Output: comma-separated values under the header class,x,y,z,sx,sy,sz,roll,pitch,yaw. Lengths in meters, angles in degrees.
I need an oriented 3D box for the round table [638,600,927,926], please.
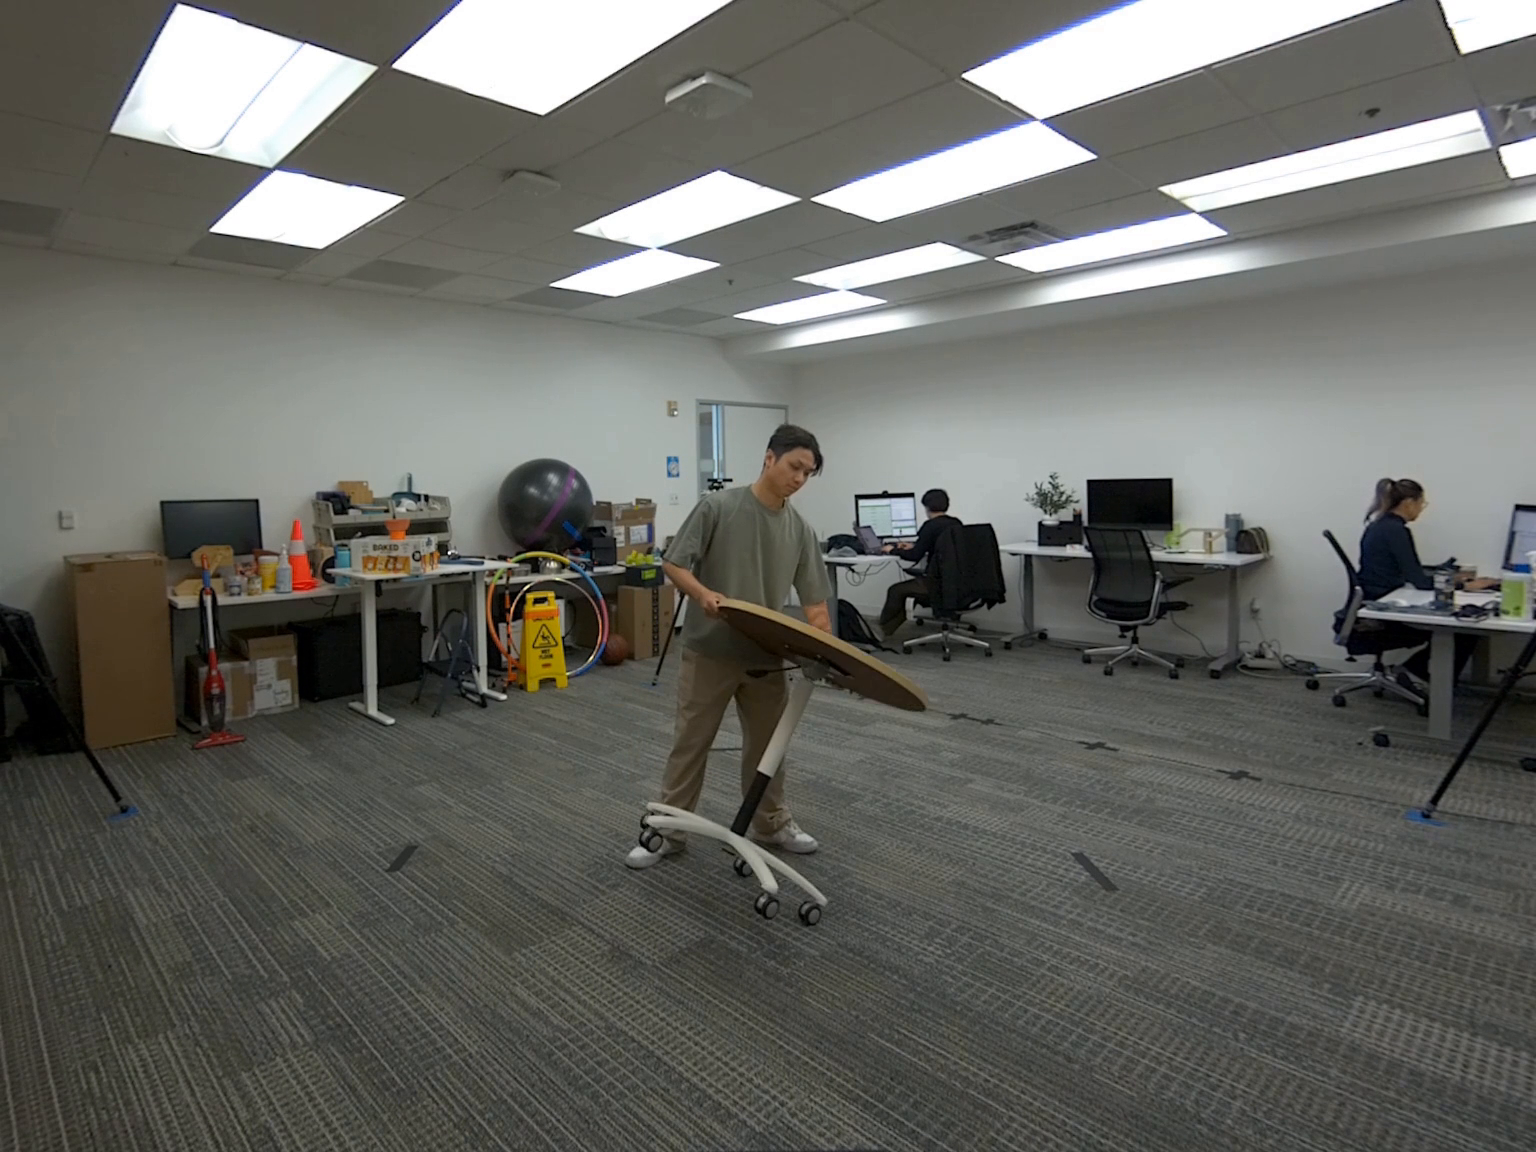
class,x,y,z,sx,sy,sz,roll,pitch,yaw
round table,0.017,0.613,2.773,0.790,0.790,0.777,26,-12,4
